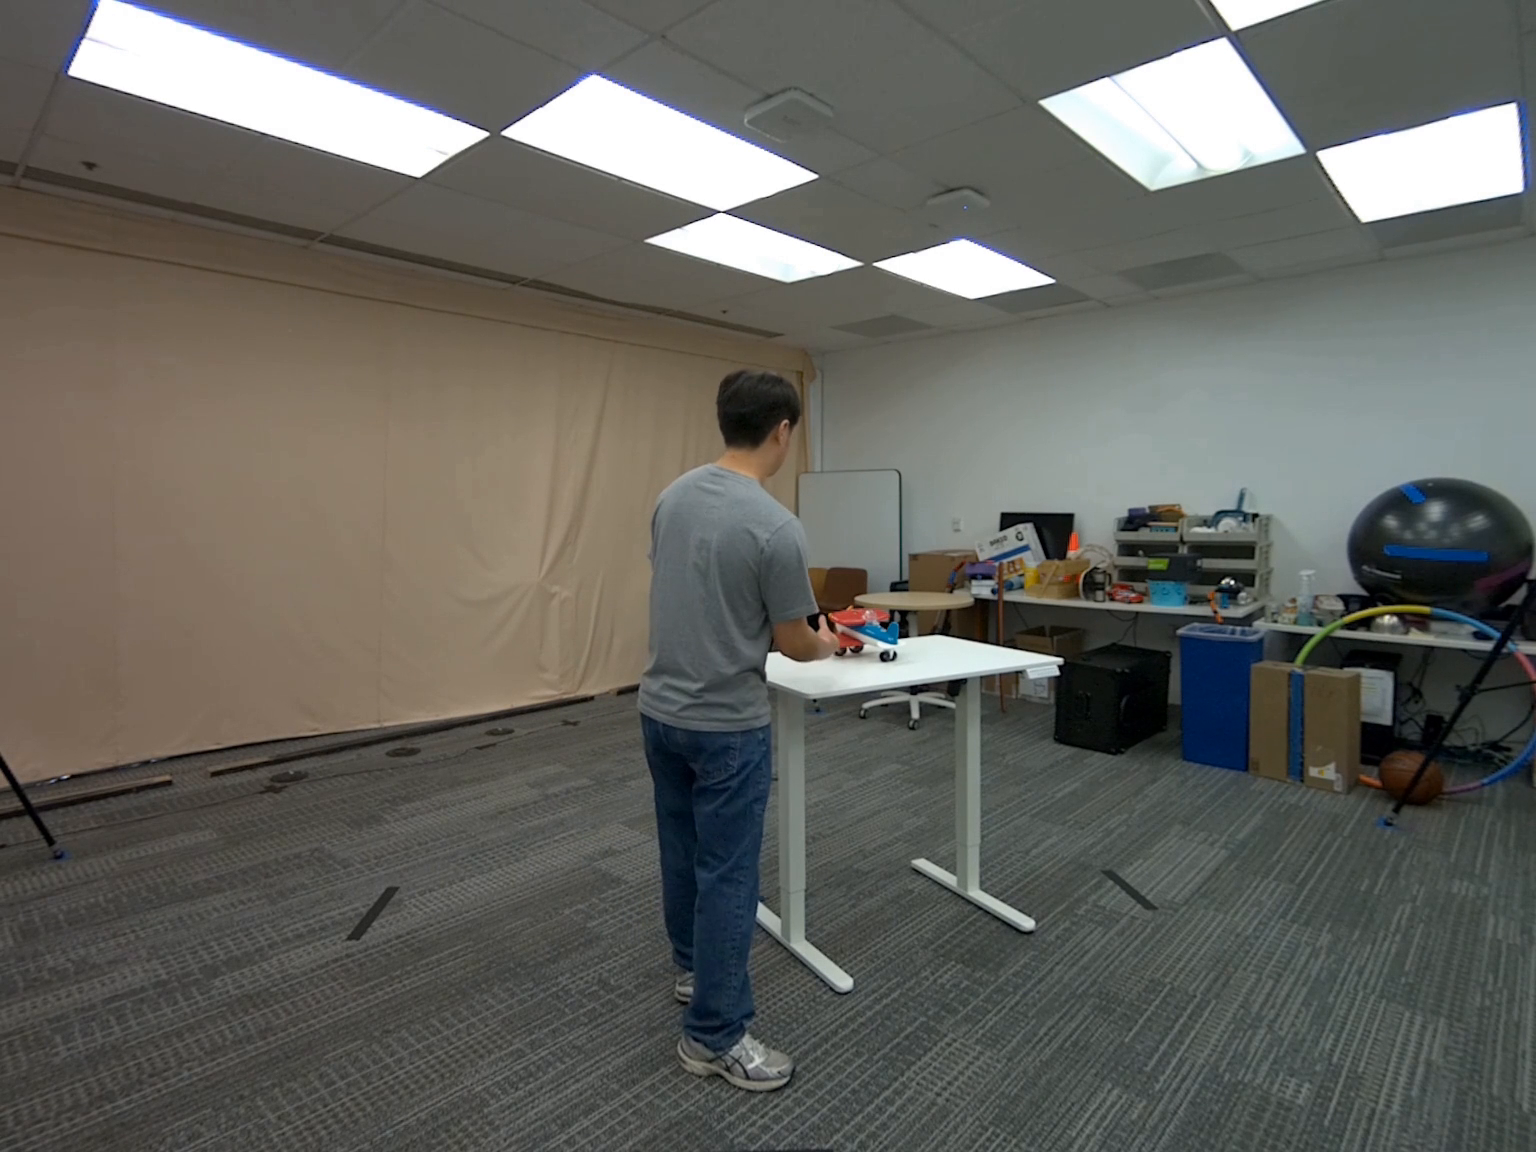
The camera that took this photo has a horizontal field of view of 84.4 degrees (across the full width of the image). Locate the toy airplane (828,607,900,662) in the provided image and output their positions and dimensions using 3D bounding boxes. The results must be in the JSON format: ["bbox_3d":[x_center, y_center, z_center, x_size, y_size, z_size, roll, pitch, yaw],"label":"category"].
[{"bbox_3d":[0.345,0.196,2.824,0.265,0.156,0.246,0,5,21],"label":"toy airplane"}]
